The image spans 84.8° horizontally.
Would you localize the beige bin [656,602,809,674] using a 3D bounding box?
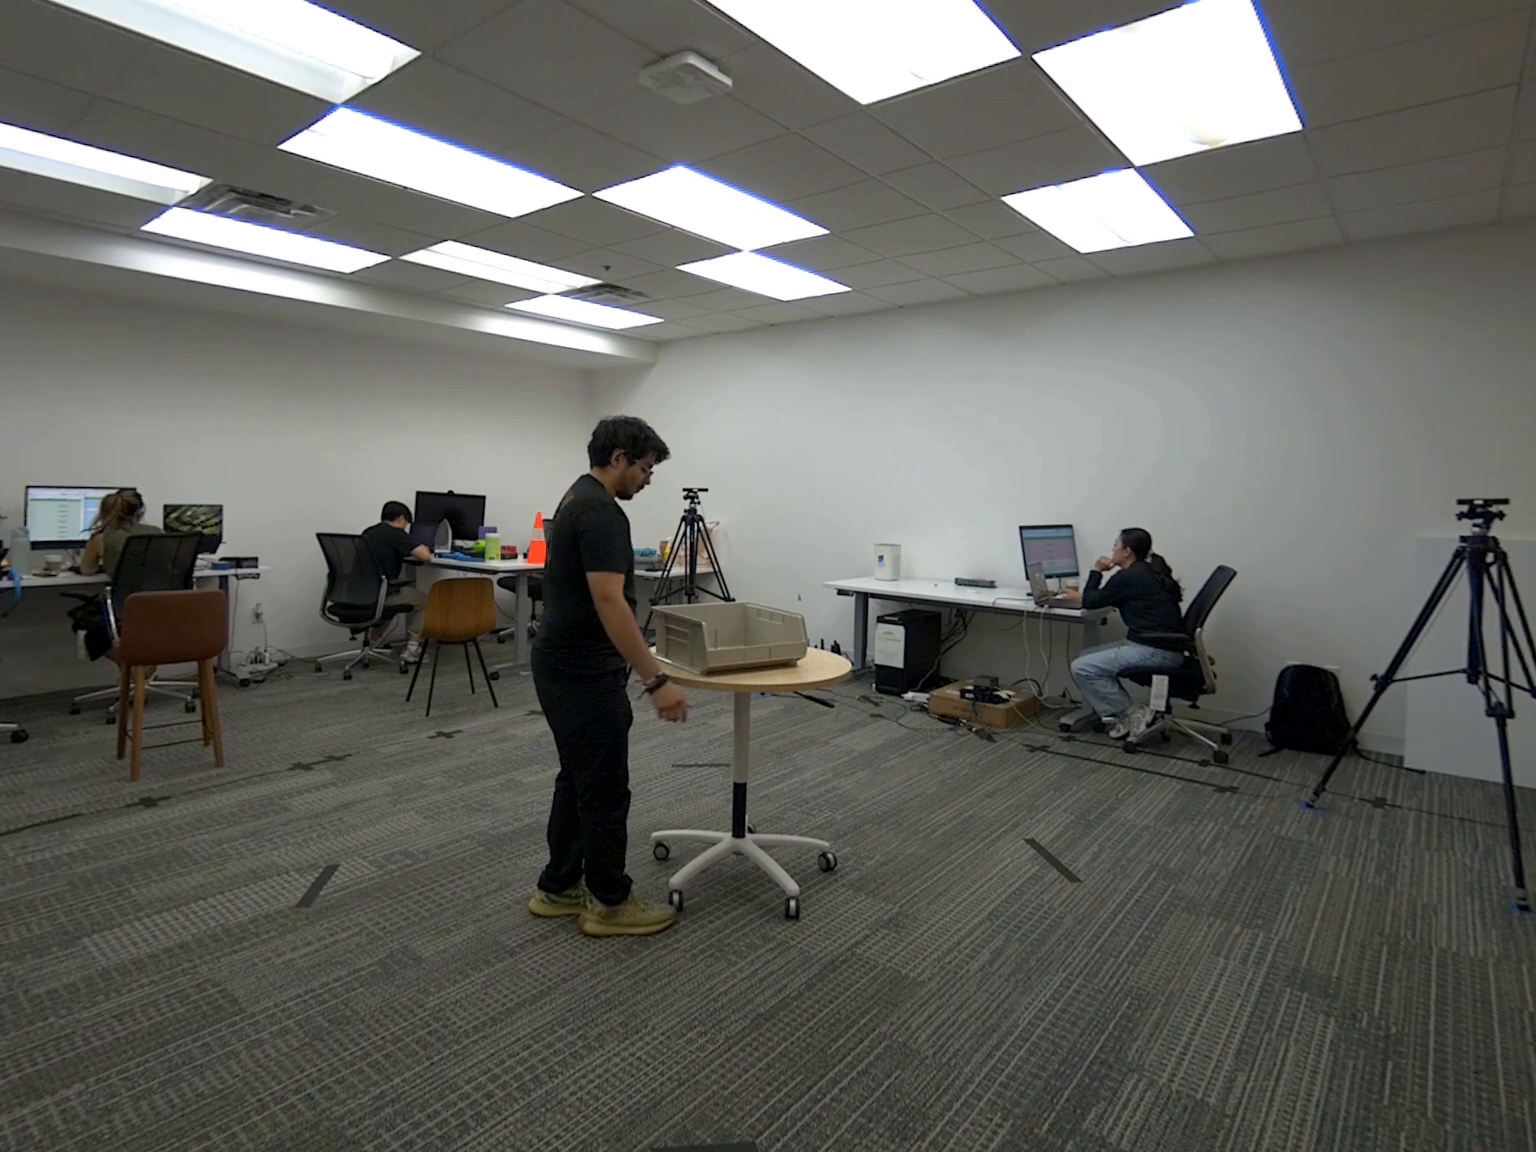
[{"bbox_3d":[-0.143,0.209,2.979,0.410,0.188,0.389,-3,6,-36],"label":"beige bin"}]
